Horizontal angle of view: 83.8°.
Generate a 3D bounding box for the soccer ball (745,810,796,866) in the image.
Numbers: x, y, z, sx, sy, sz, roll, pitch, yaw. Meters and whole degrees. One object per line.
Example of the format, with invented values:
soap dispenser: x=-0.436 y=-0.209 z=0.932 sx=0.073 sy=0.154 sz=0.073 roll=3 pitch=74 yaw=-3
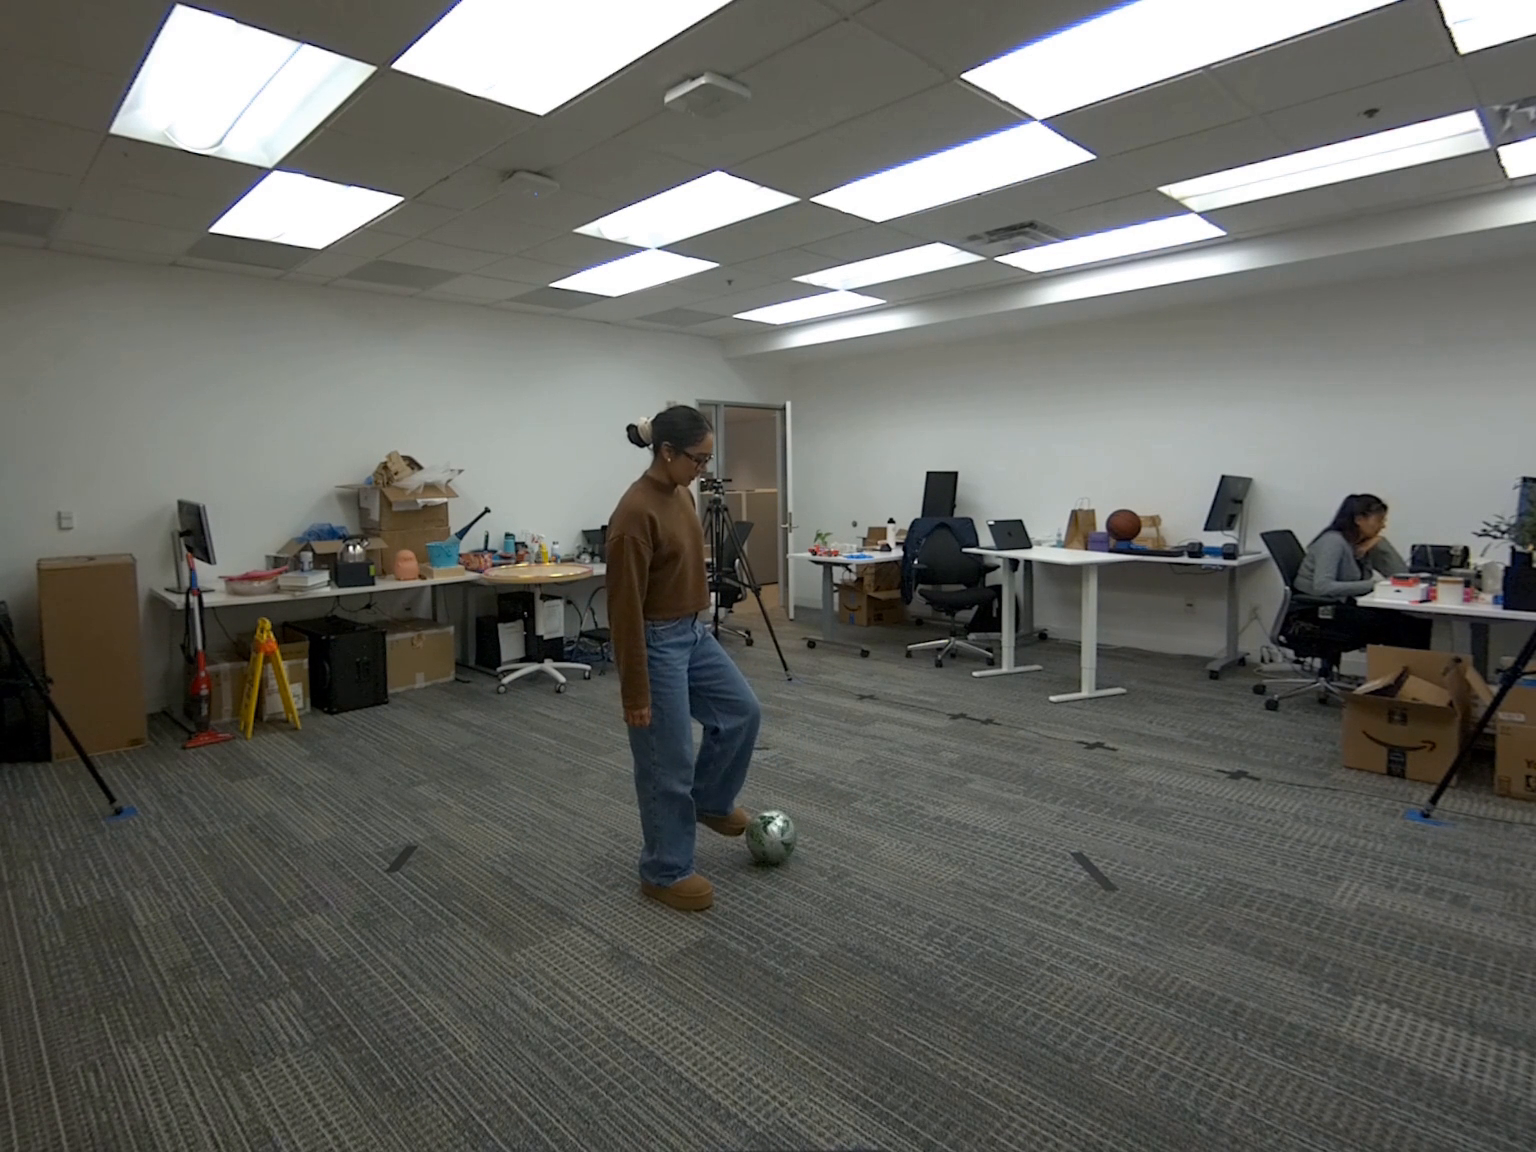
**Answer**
soccer ball: x=0.020 y=0.947 z=3.104 sx=0.187 sy=0.187 sz=0.188 roll=-1 pitch=5 yaw=-2
